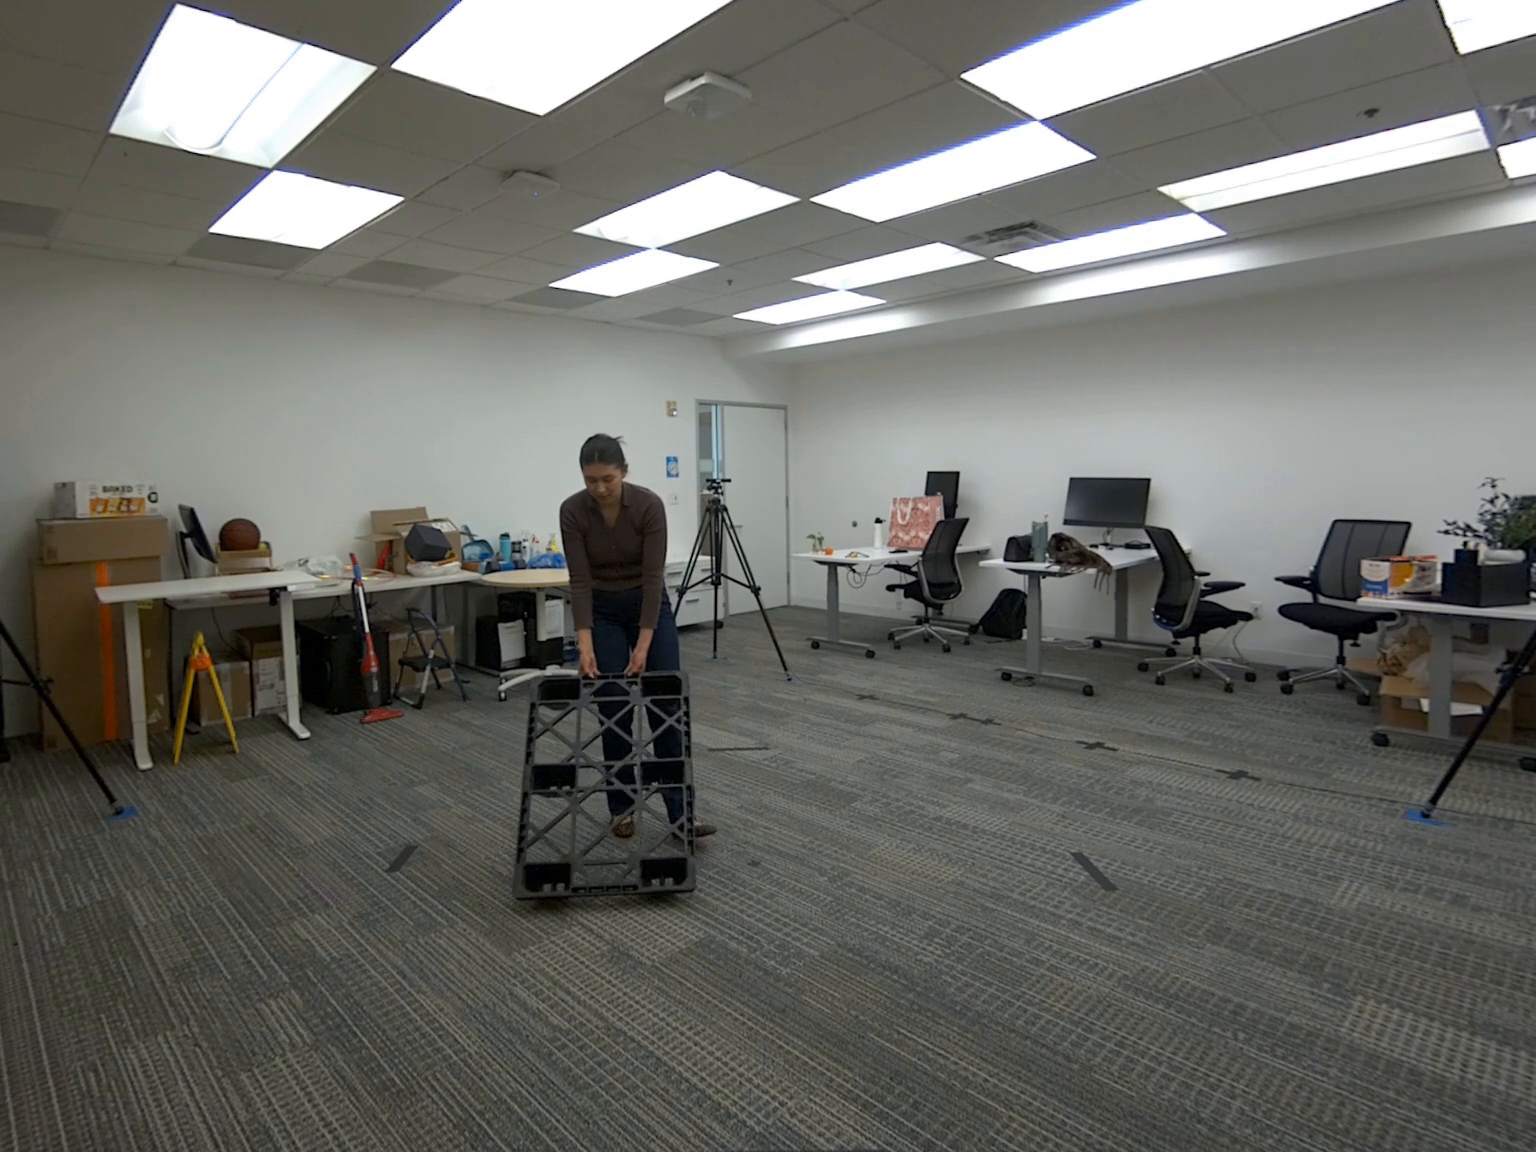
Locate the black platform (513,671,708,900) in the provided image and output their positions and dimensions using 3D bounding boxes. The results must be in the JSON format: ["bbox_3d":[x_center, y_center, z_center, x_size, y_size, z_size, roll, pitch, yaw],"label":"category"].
[{"bbox_3d":[-0.564,0.731,3.070,0.602,0.828,0.140,-2,-35,-5],"label":"black platform"}]
